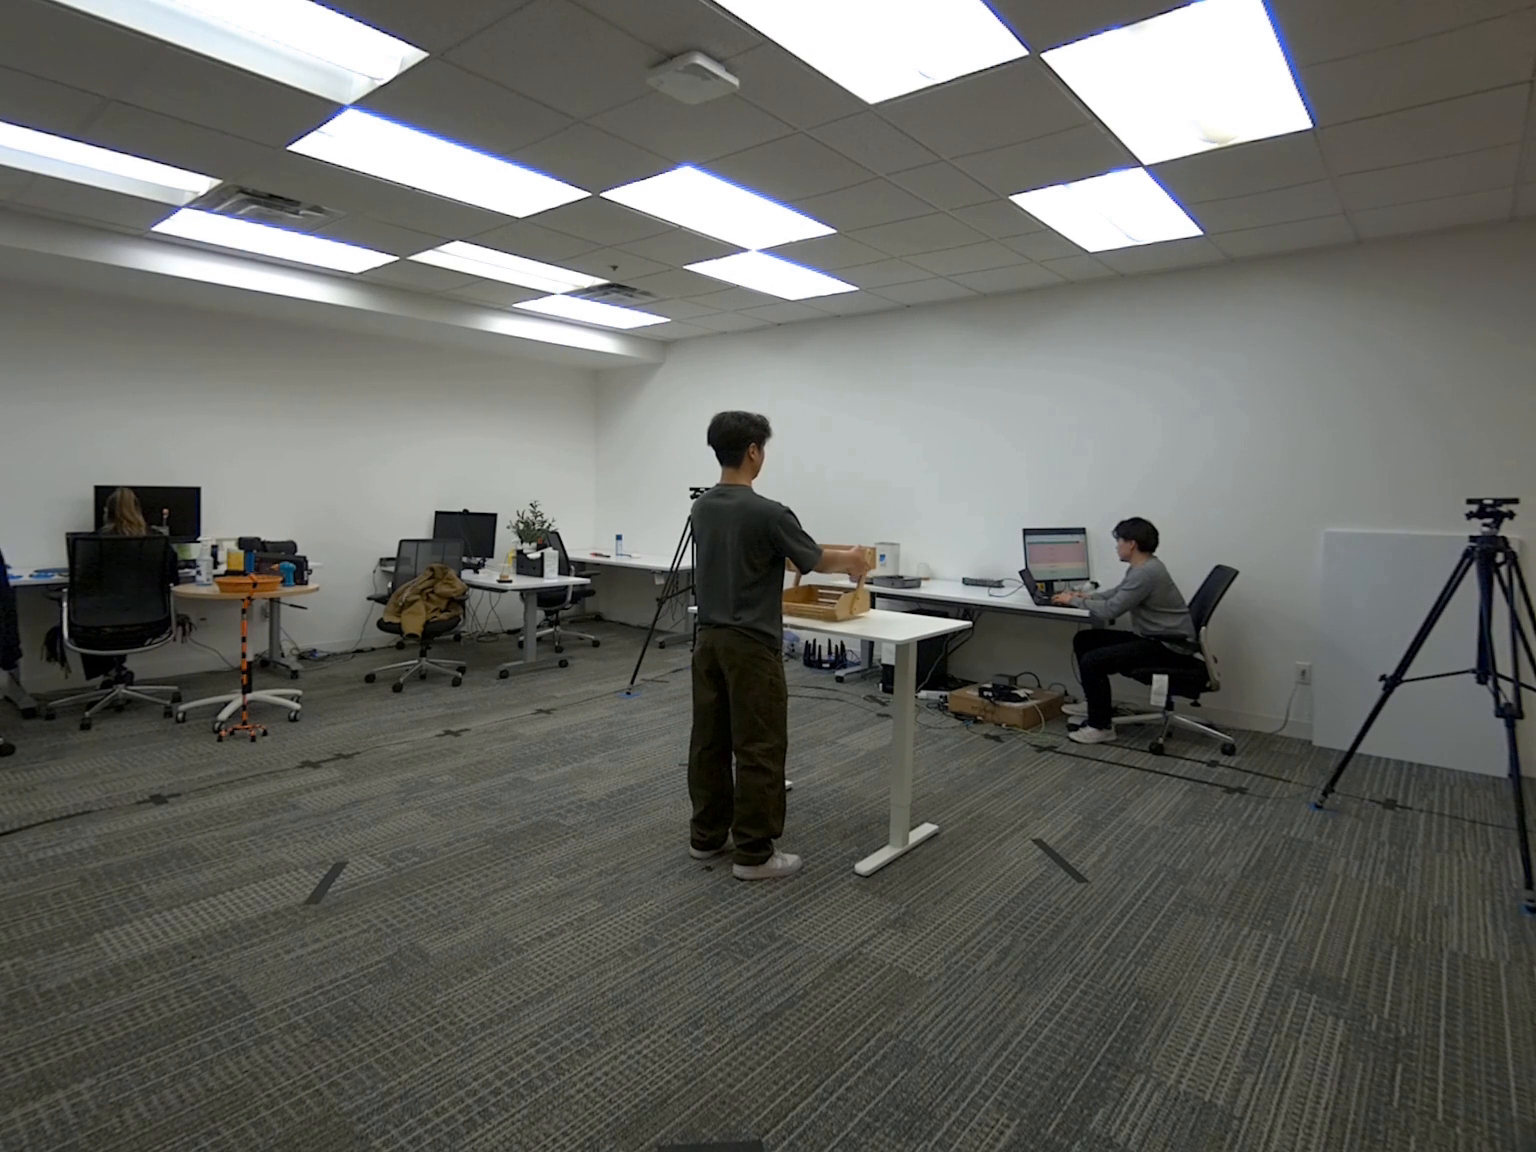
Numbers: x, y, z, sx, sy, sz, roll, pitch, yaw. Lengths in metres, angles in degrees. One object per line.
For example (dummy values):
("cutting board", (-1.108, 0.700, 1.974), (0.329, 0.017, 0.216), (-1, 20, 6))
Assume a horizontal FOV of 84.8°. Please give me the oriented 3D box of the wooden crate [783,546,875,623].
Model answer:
("wooden crate", (0.225, 0.006, 3.481), (0.335, 0.272, 0.294), (4, 8, 40))
